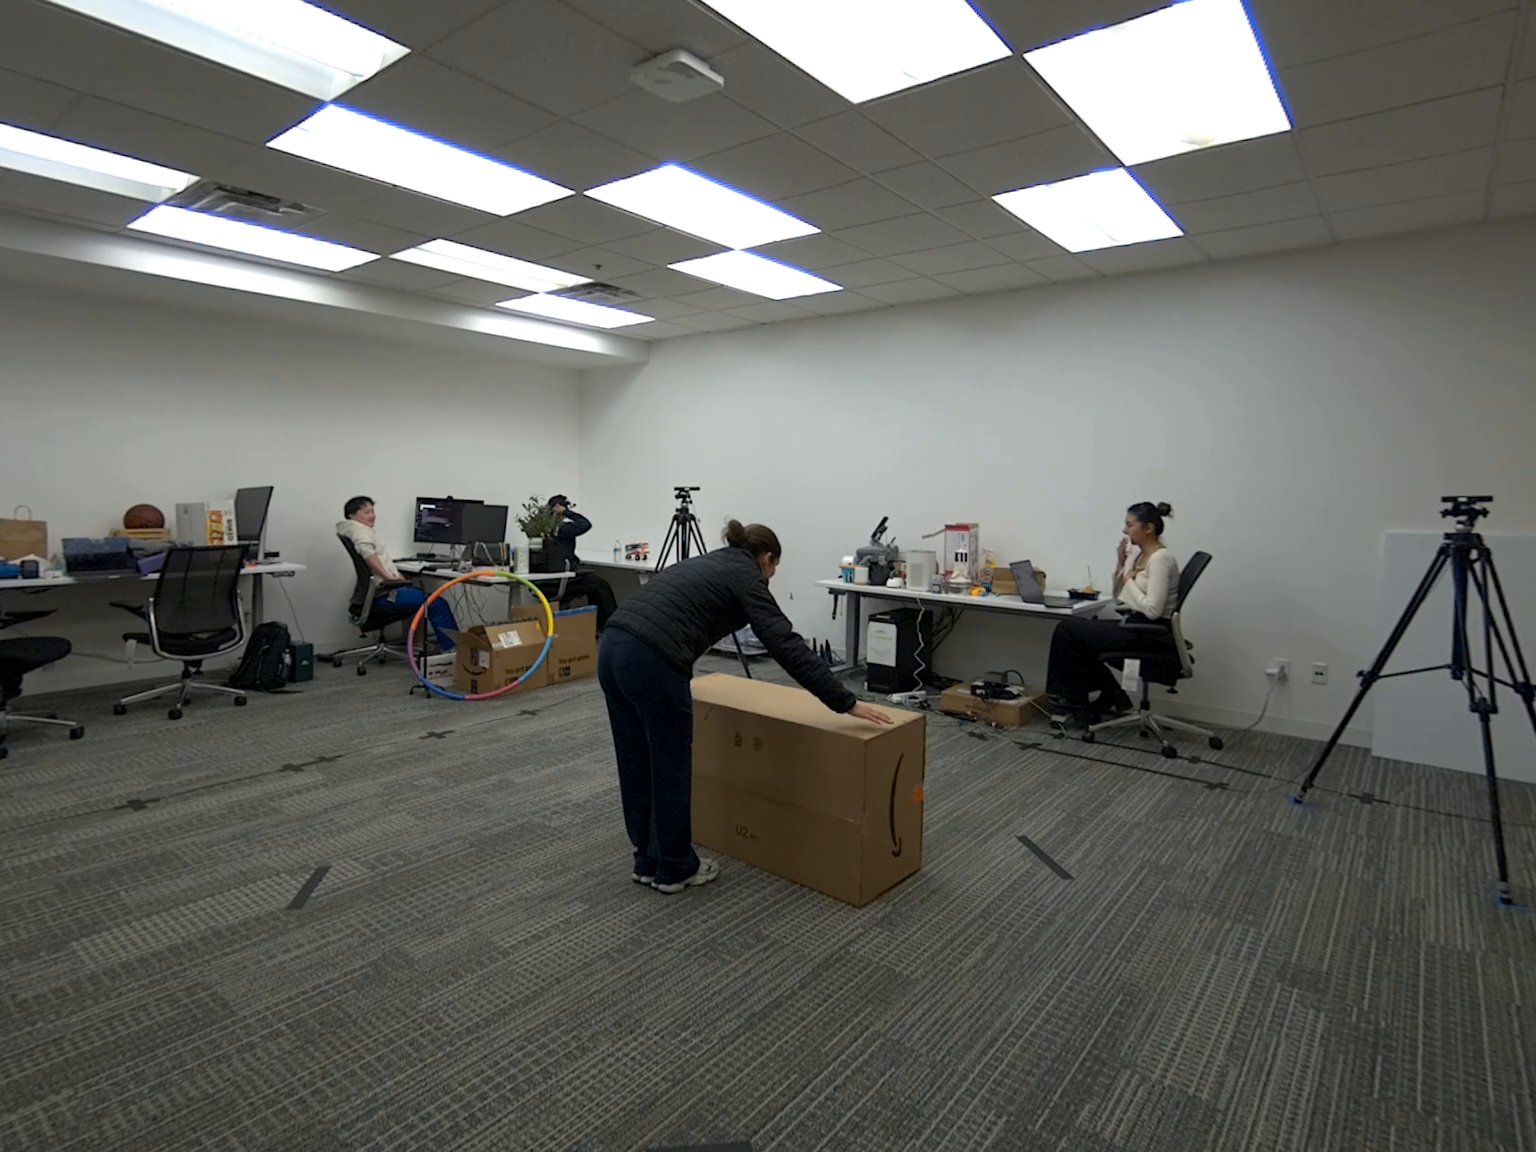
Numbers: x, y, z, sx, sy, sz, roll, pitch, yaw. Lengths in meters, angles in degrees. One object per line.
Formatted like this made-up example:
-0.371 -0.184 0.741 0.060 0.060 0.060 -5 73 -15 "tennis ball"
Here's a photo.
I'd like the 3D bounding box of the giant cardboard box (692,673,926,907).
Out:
0.060 0.763 3.317 1.062 0.581 0.434 6 7 41 "giant cardboard box"
